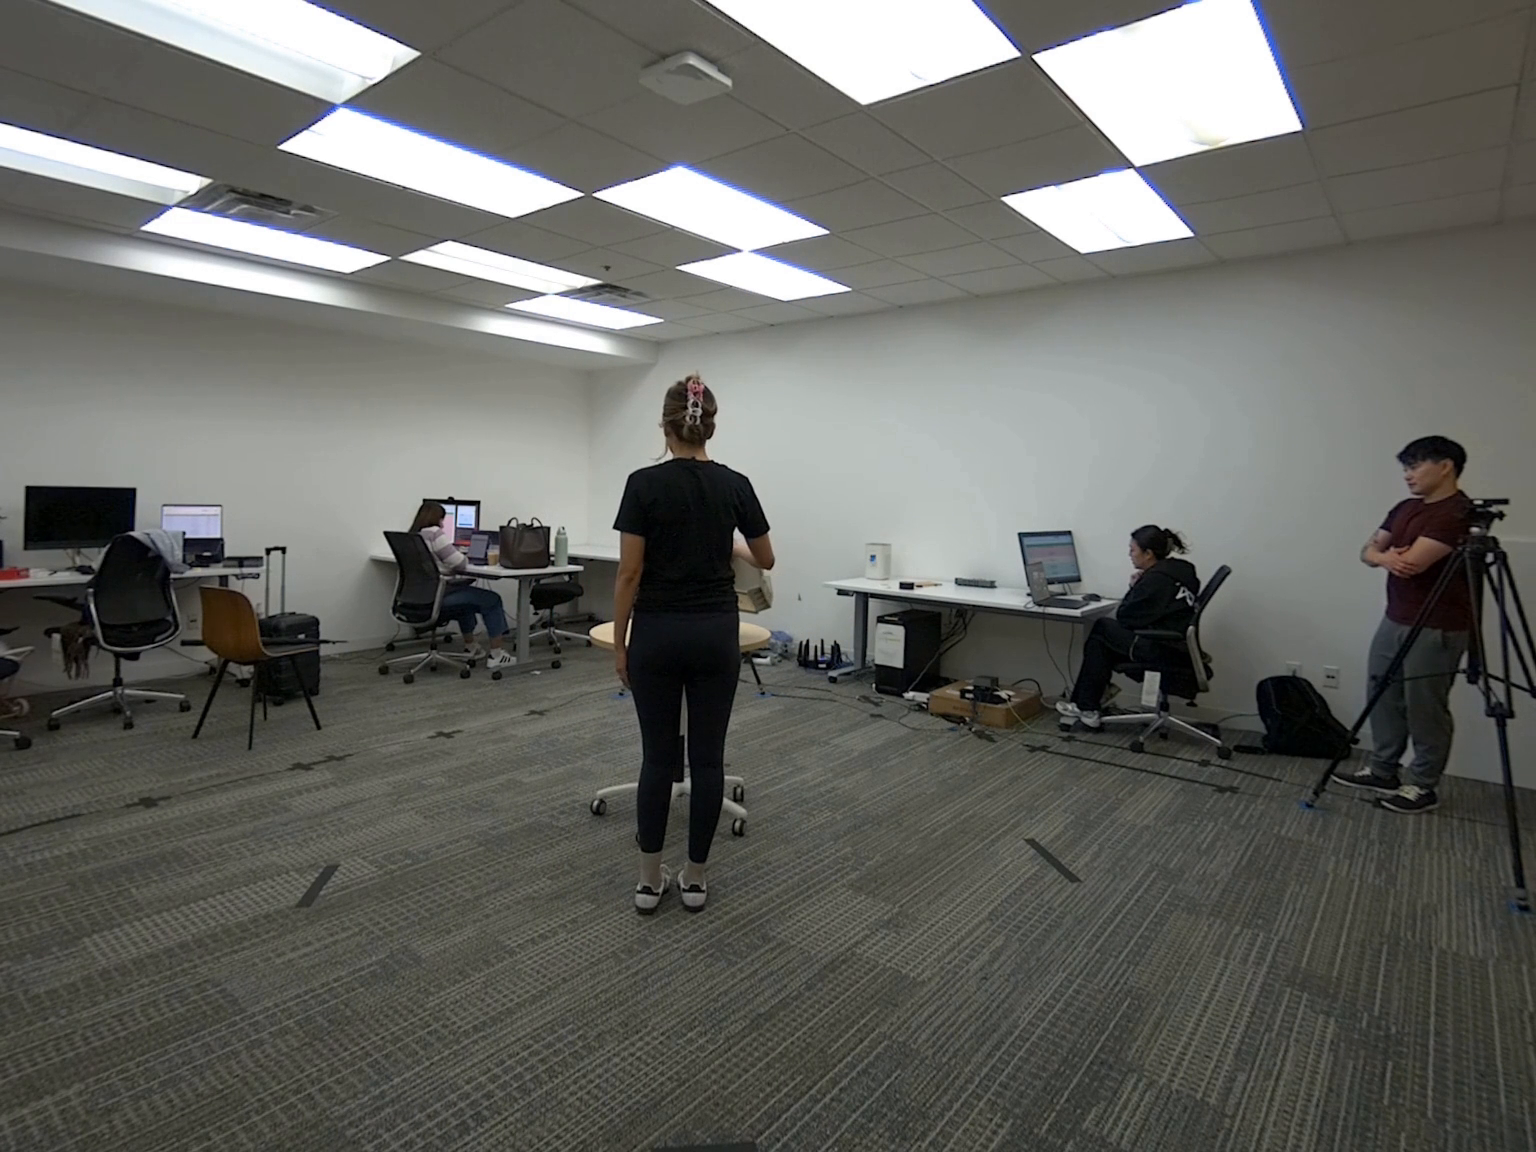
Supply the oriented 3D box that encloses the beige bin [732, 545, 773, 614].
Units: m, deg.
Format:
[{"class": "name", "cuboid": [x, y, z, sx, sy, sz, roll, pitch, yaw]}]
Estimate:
[{"class": "beige bin", "cuboid": [-0.184, 0.005, 3.445, 0.382, 0.191, 0.413, 8, -12, 10]}]
